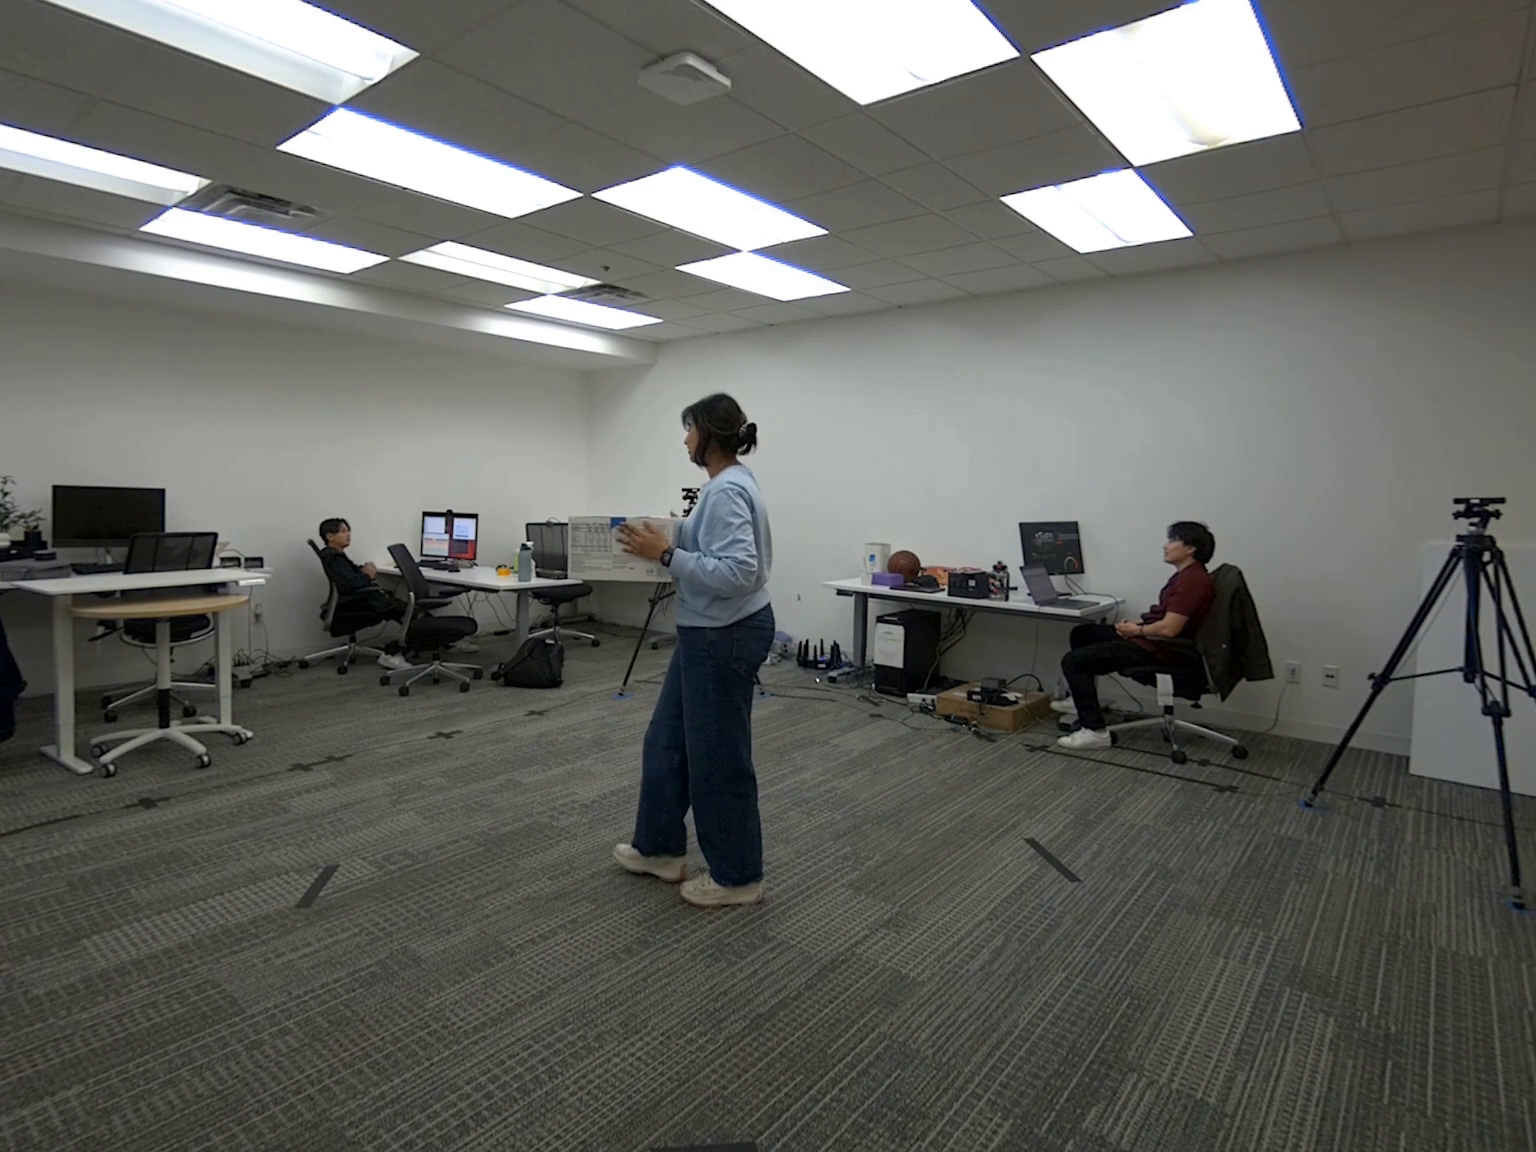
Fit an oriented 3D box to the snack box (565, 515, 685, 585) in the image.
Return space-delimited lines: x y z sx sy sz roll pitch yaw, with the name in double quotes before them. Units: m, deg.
"snack box" -0.466 -0.100 2.885 0.343 0.205 0.403 2 4 5
